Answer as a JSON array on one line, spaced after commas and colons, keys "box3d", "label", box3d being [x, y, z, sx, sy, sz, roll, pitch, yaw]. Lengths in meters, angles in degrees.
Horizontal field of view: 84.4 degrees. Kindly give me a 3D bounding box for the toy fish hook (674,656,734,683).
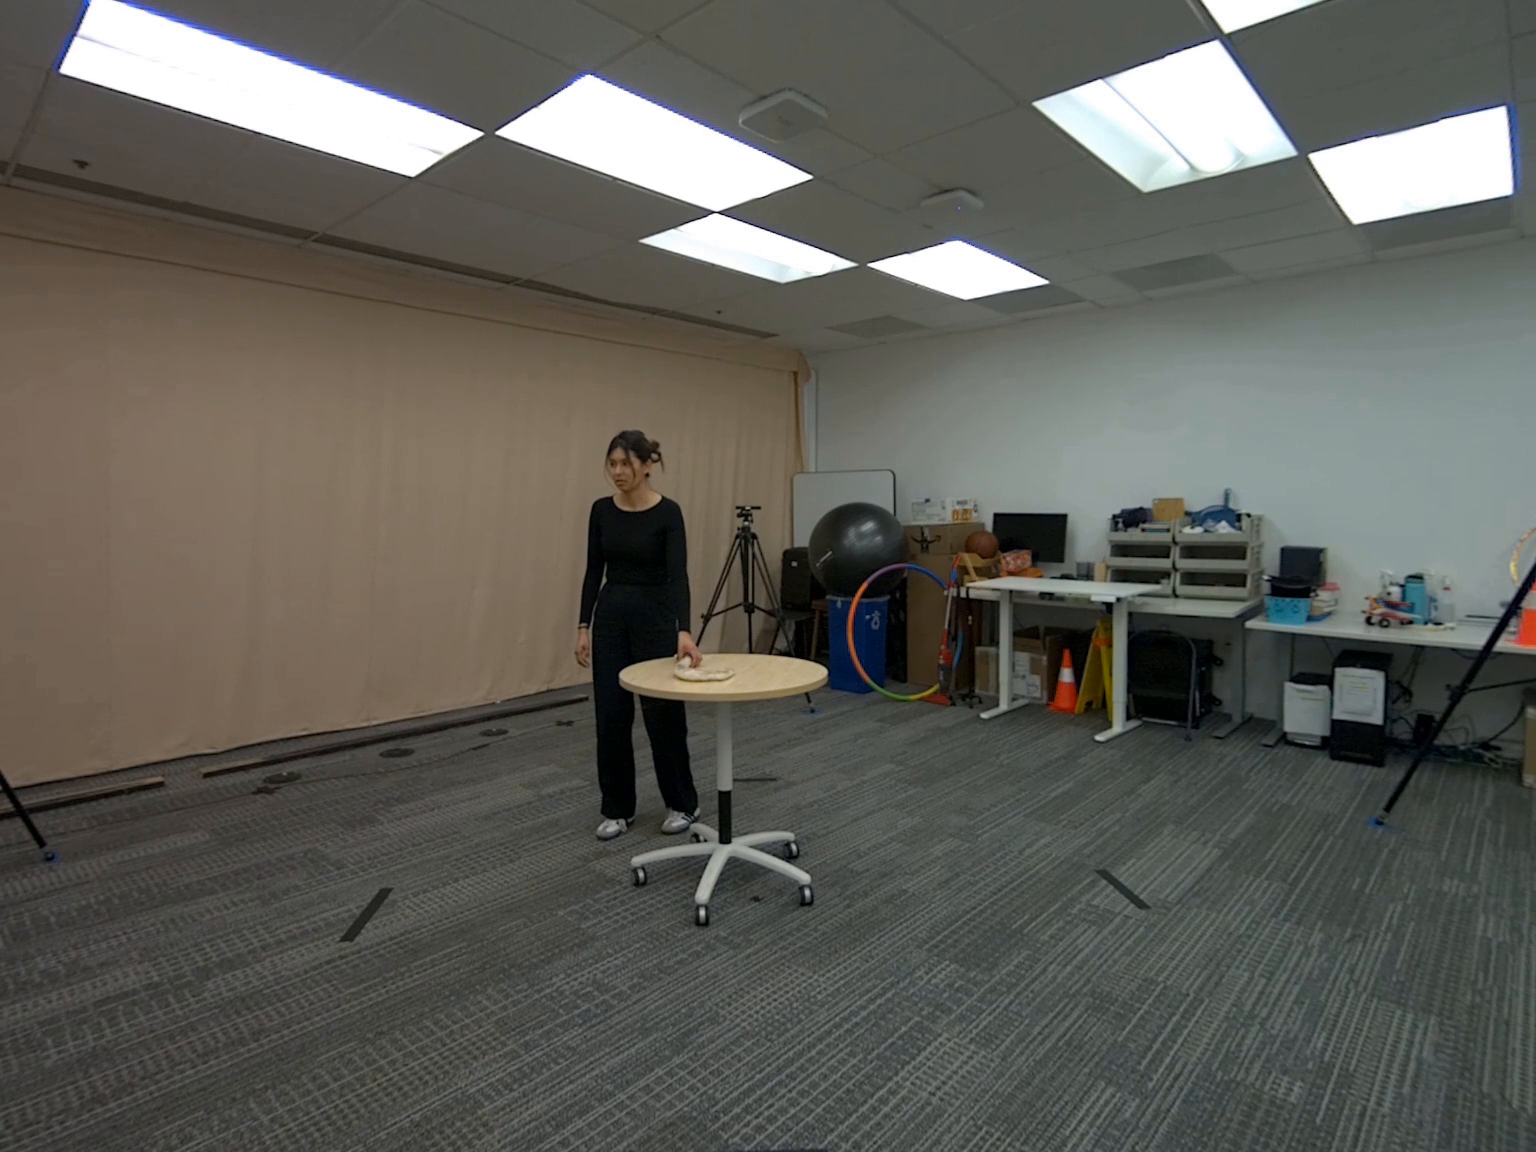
[{"box3d": [-0.249, 0.336, 3.171, 0.223, 0.048, 0.511, 7, 5, -8], "label": "toy fish hook"}]
